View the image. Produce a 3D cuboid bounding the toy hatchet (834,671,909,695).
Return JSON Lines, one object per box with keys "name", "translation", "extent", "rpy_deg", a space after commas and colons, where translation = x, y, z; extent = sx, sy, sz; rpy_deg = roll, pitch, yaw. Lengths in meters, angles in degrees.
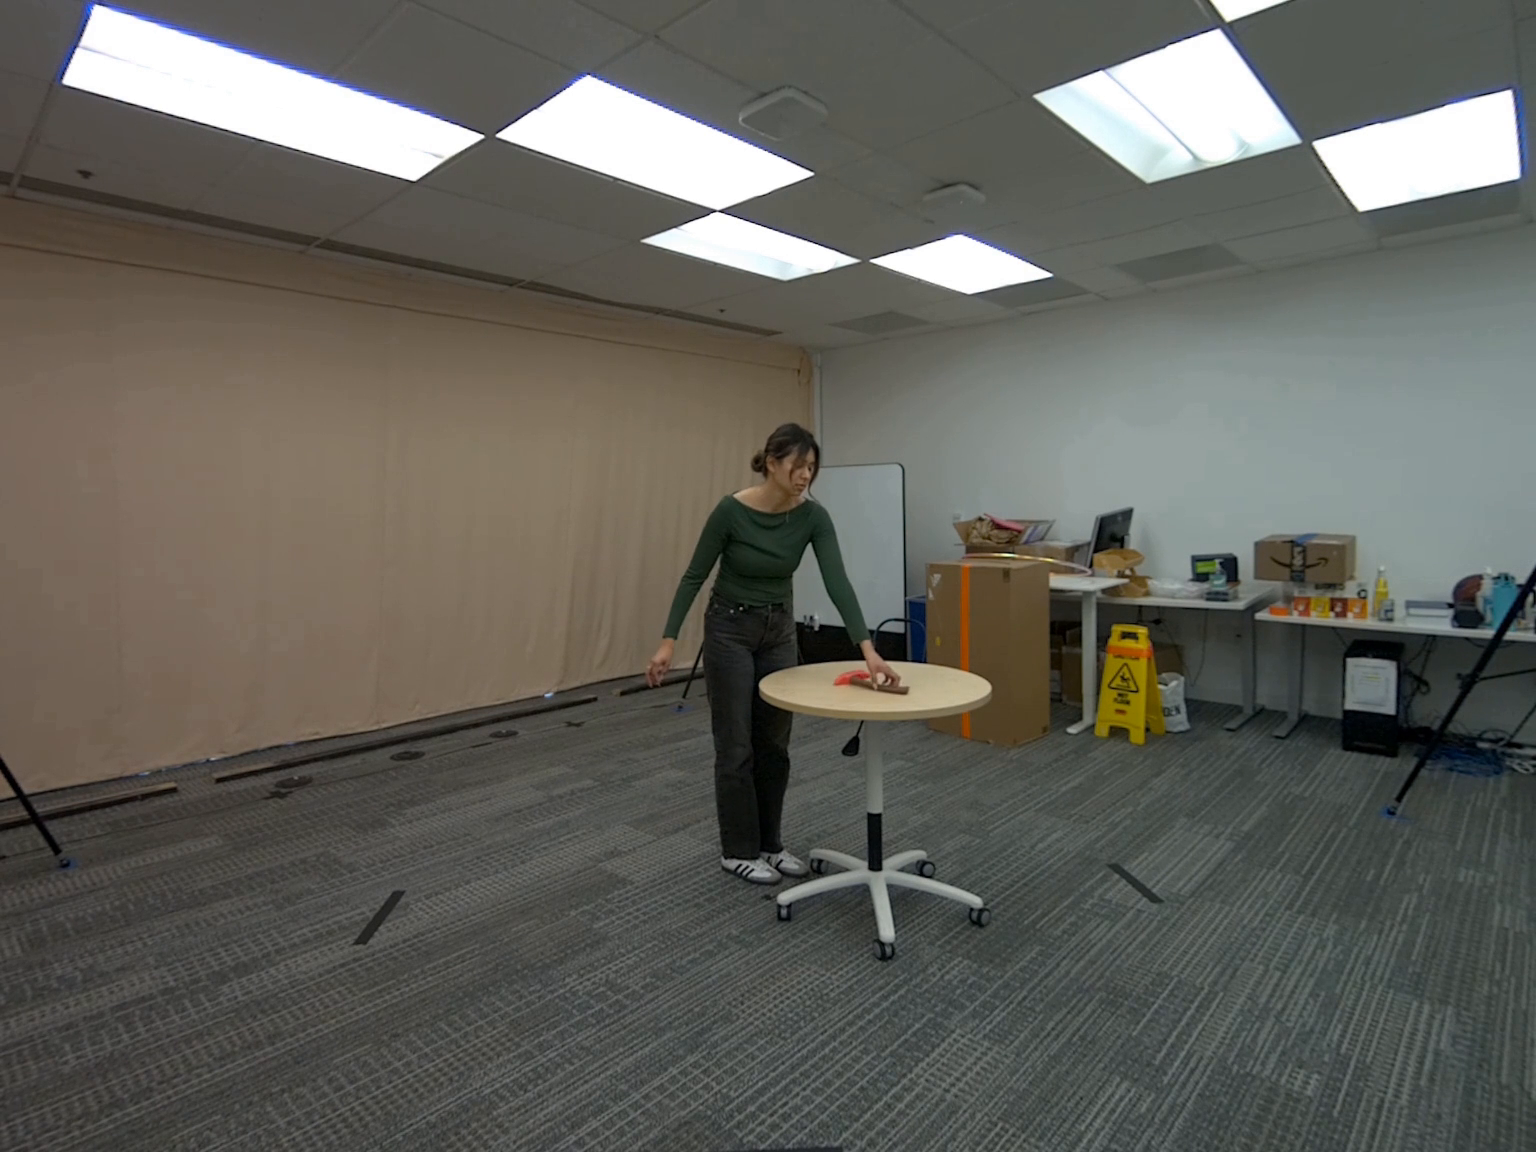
{"name": "toy hatchet", "translation": [0.372, 0.351, 2.776], "extent": [0.279, 0.029, 0.128], "rpy_deg": [3, 17, 37]}
